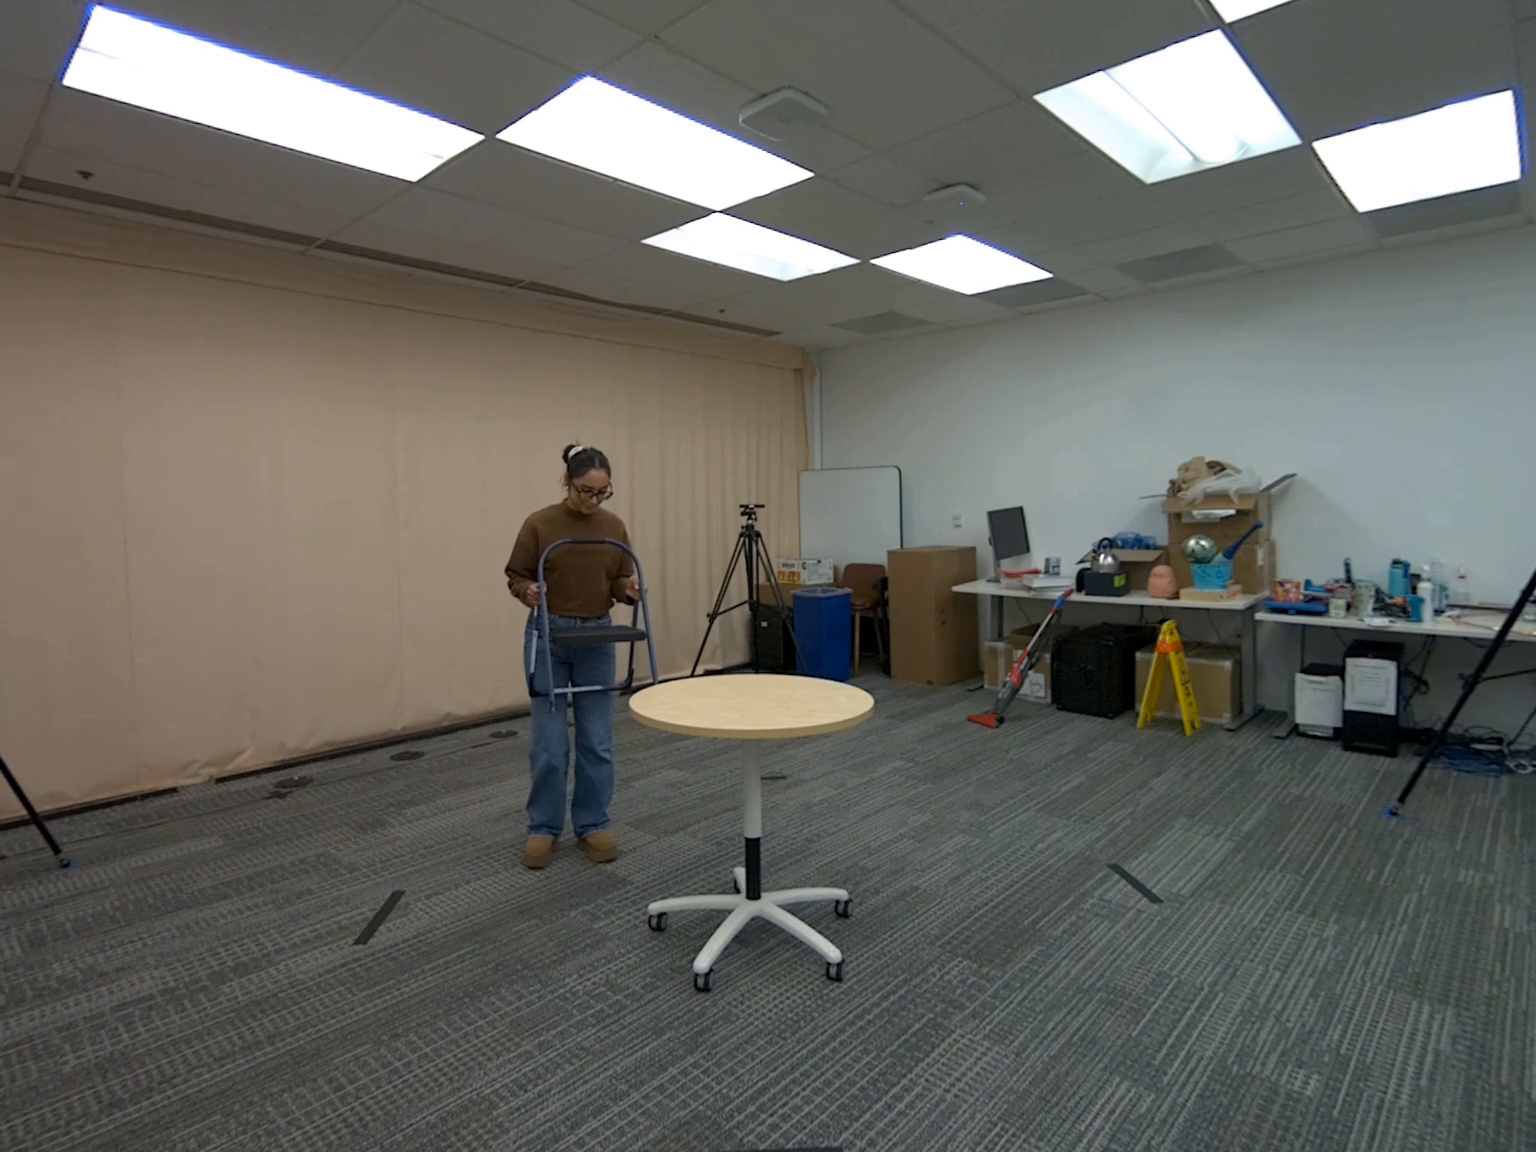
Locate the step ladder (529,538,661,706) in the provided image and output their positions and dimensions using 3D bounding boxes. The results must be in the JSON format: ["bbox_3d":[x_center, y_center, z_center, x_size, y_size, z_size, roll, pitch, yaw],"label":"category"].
[{"bbox_3d":[-0.651,0.164,3.152,0.419,0.606,0.359,0,1,-29],"label":"step ladder"}]
